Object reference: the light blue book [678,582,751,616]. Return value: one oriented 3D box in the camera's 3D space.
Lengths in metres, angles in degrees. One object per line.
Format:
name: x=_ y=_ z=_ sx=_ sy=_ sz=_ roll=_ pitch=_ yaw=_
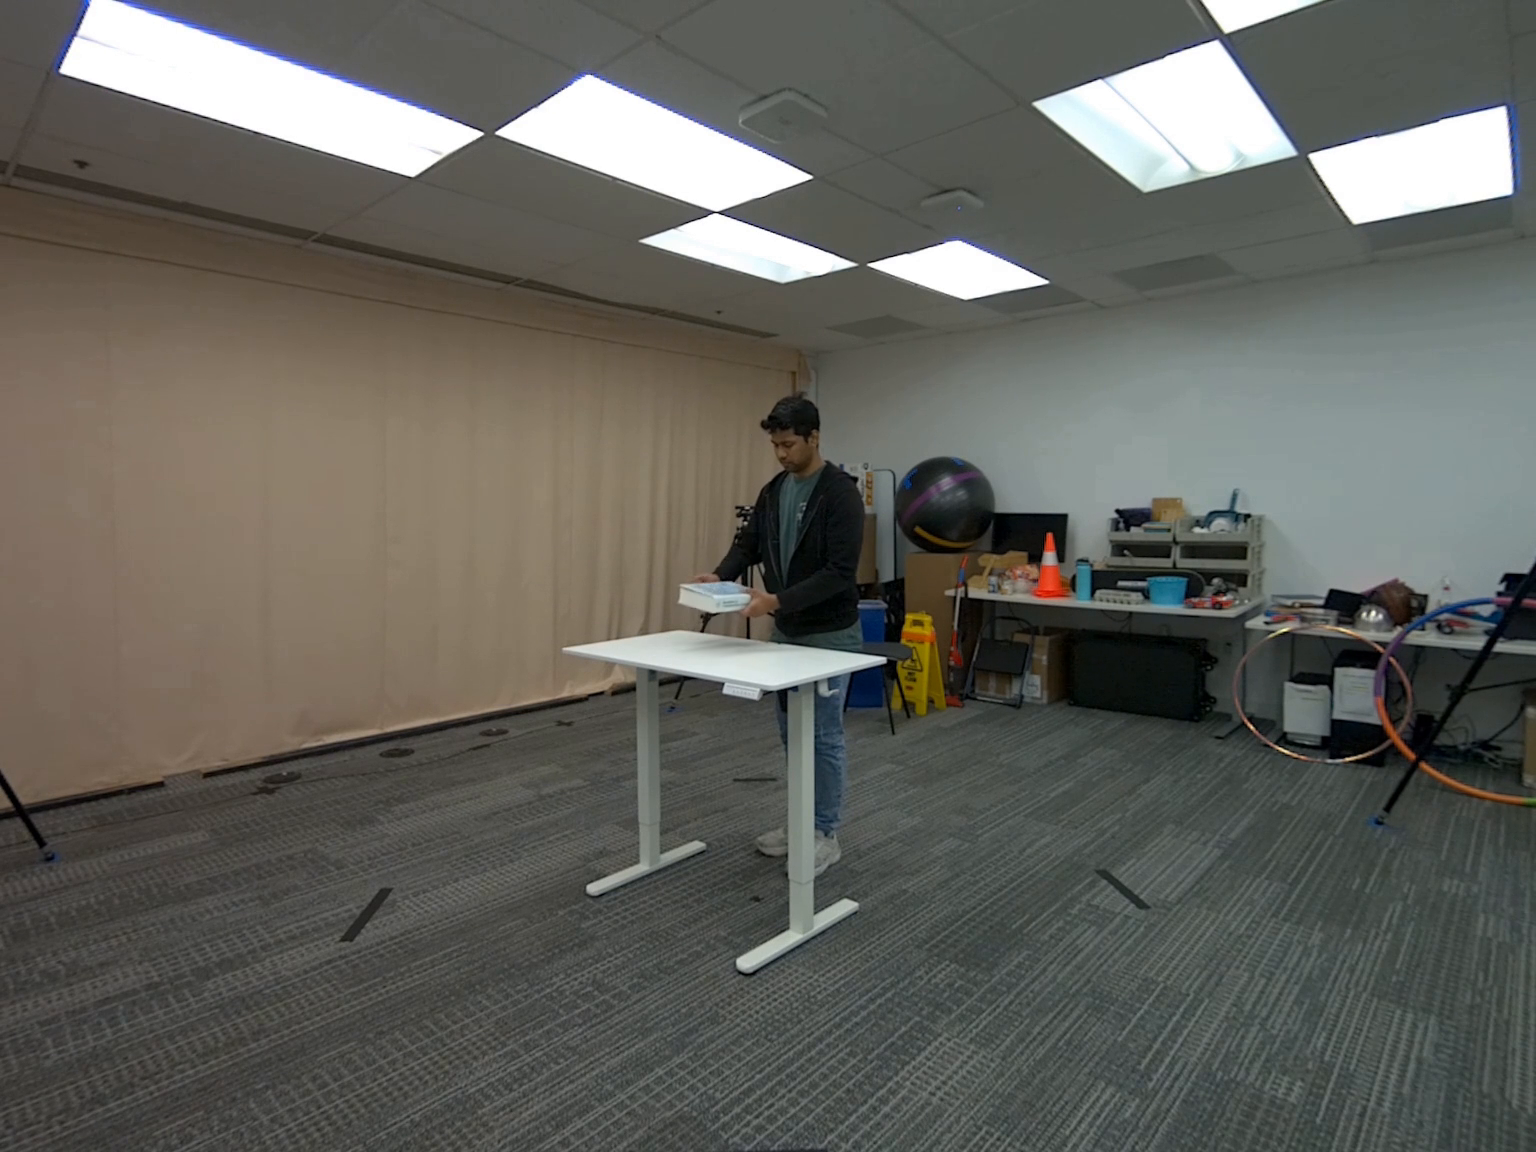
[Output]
light blue book: x=-0.160 y=0.081 z=3.044 sx=0.198 sy=0.059 sz=0.253 roll=14 pitch=13 yaw=39
